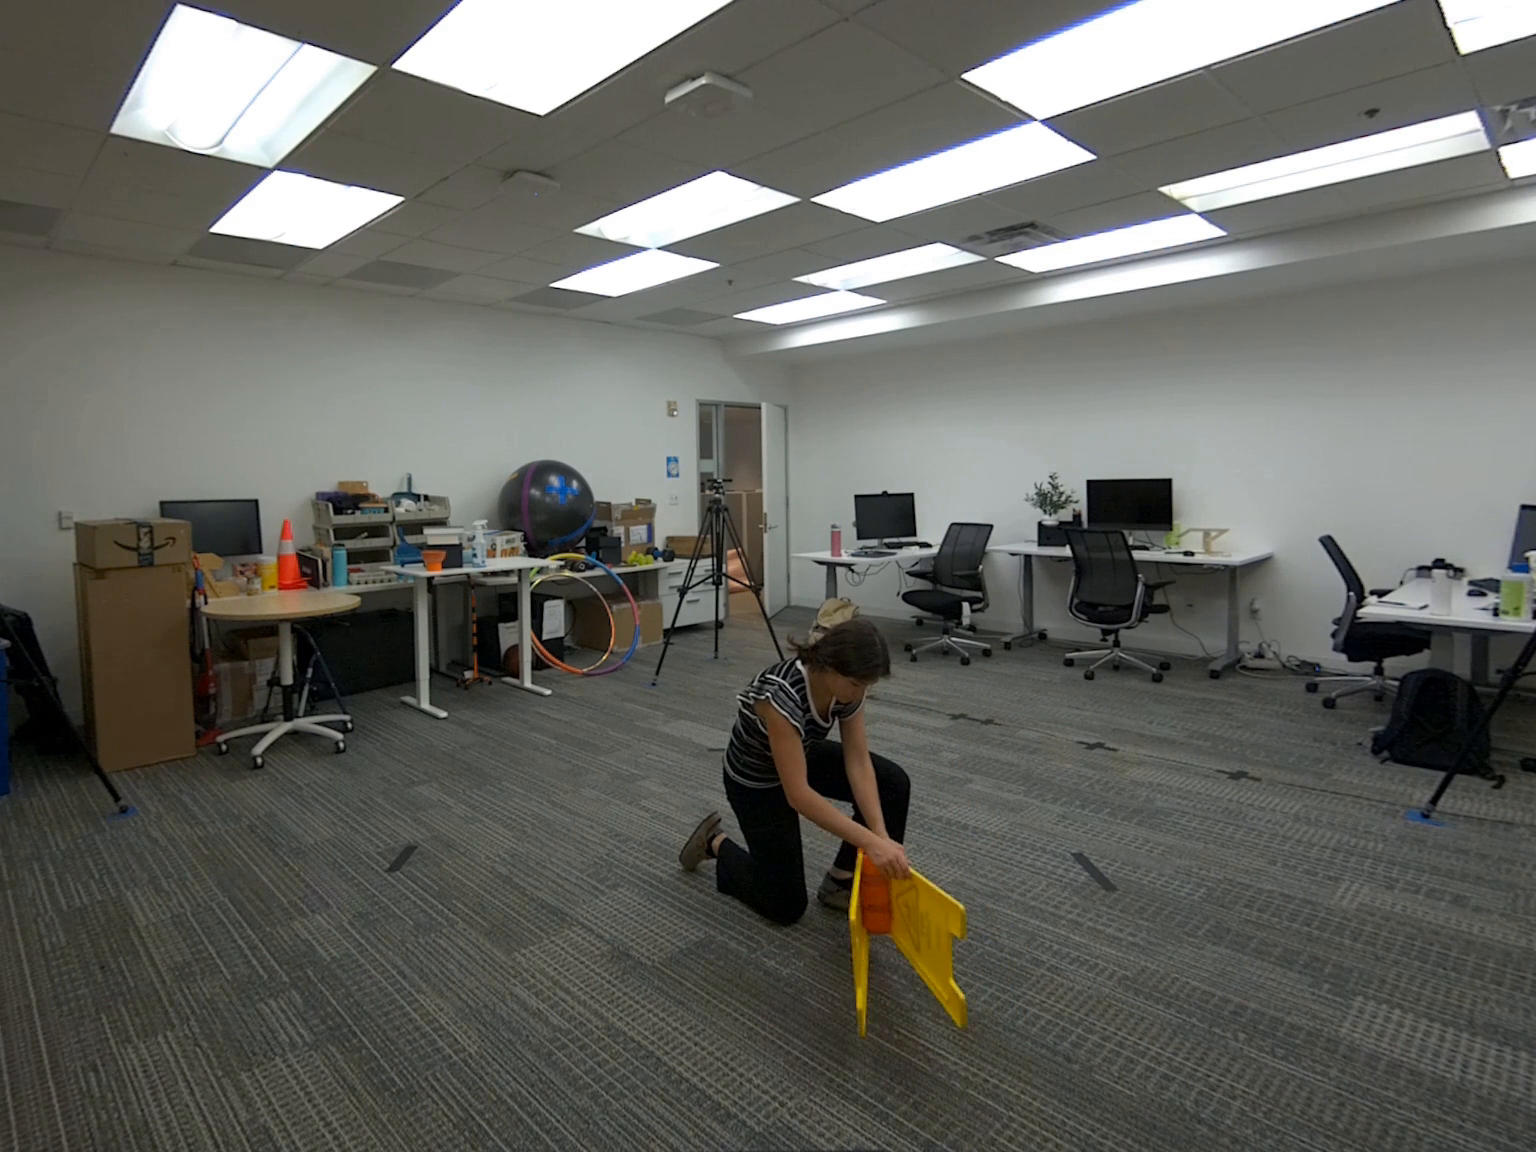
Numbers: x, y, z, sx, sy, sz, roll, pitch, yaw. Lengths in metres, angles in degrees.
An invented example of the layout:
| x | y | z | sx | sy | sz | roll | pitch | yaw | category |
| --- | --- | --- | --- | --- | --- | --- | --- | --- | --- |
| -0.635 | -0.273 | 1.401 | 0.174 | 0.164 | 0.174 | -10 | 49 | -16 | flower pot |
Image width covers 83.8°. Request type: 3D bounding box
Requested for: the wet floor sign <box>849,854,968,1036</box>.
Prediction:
| x | y | z | sx | sy | sz | roll | pitch | yaw | category |
| --- | --- | --- | --- | --- | --- | --- | --- | --- | --- |
| 0.323 | 0.923 | 2.297 | 0.290 | 0.282 | 0.646 | -5 | 0 | -1 | wet floor sign |
